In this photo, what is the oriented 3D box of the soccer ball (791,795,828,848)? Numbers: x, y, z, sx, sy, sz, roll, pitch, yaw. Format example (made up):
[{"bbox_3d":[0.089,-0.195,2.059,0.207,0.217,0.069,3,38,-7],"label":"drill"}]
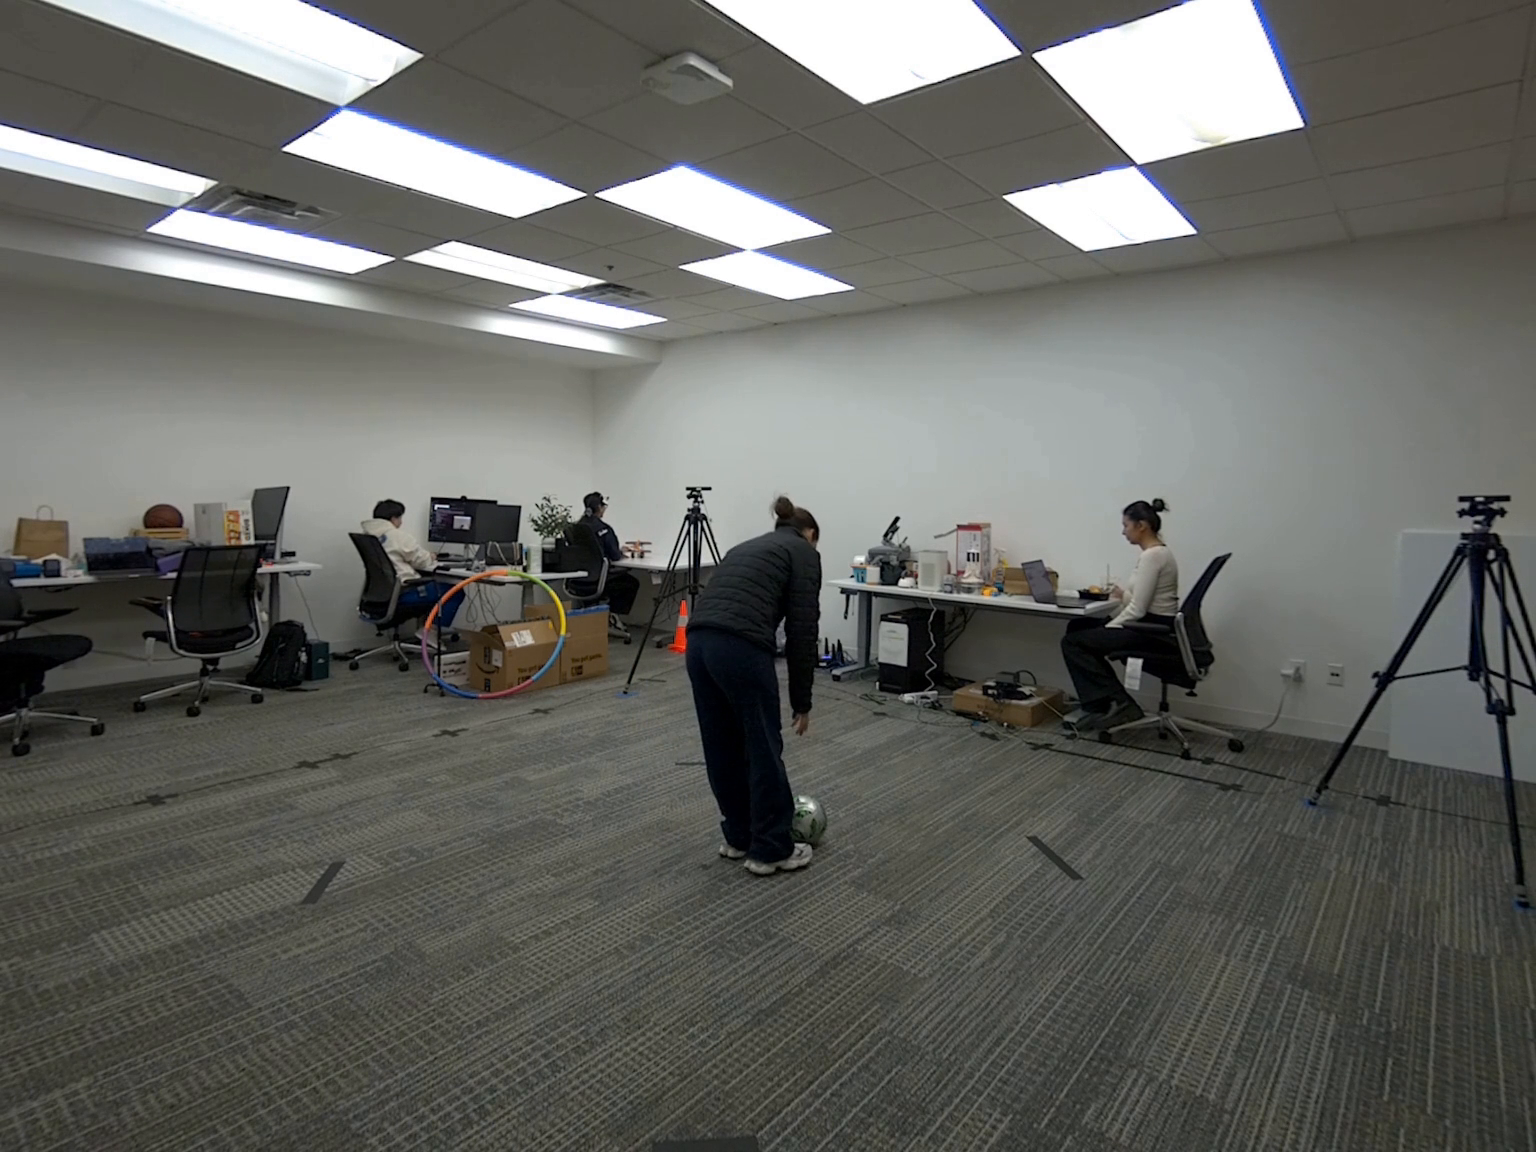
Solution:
[{"bbox_3d":[0.131,0.957,3.342,0.187,0.187,0.188,1,4,-2],"label":"soccer ball"}]
